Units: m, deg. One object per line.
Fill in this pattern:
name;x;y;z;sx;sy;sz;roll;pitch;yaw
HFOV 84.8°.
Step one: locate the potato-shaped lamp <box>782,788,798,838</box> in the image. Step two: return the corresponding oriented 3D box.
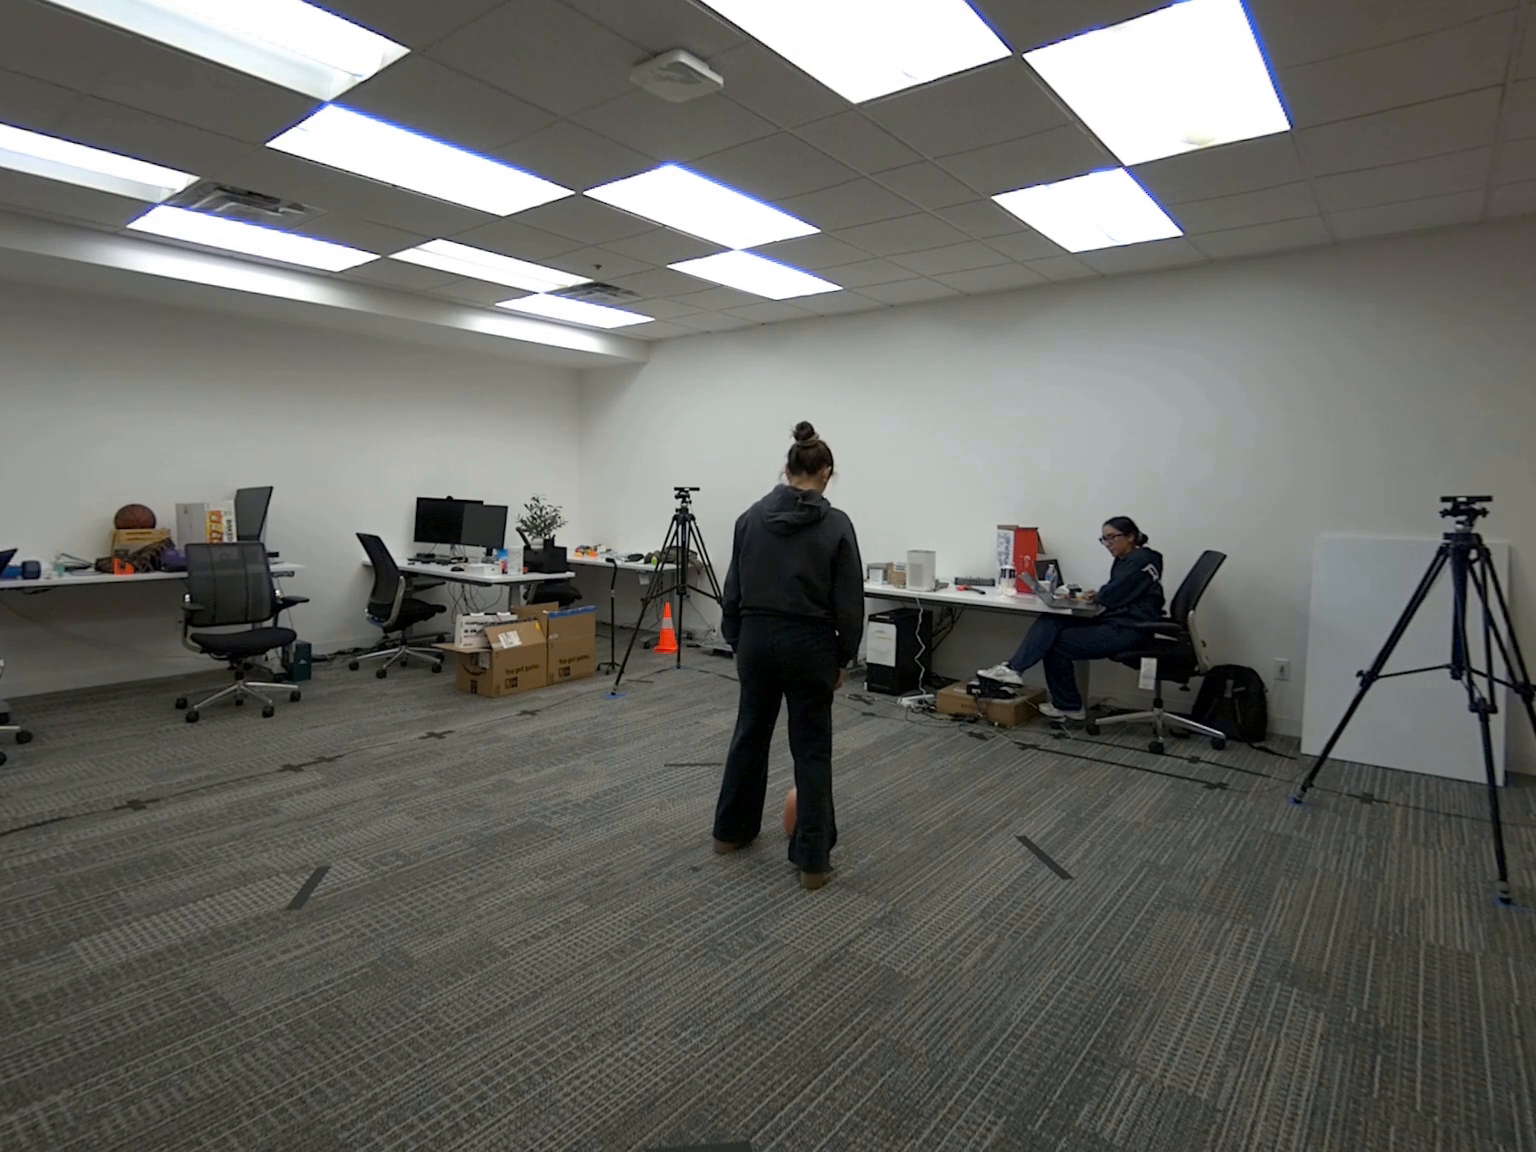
potato-shaped lamp;0.144;0.934;3.423;0.169;0.197;0.167;2;5;28
